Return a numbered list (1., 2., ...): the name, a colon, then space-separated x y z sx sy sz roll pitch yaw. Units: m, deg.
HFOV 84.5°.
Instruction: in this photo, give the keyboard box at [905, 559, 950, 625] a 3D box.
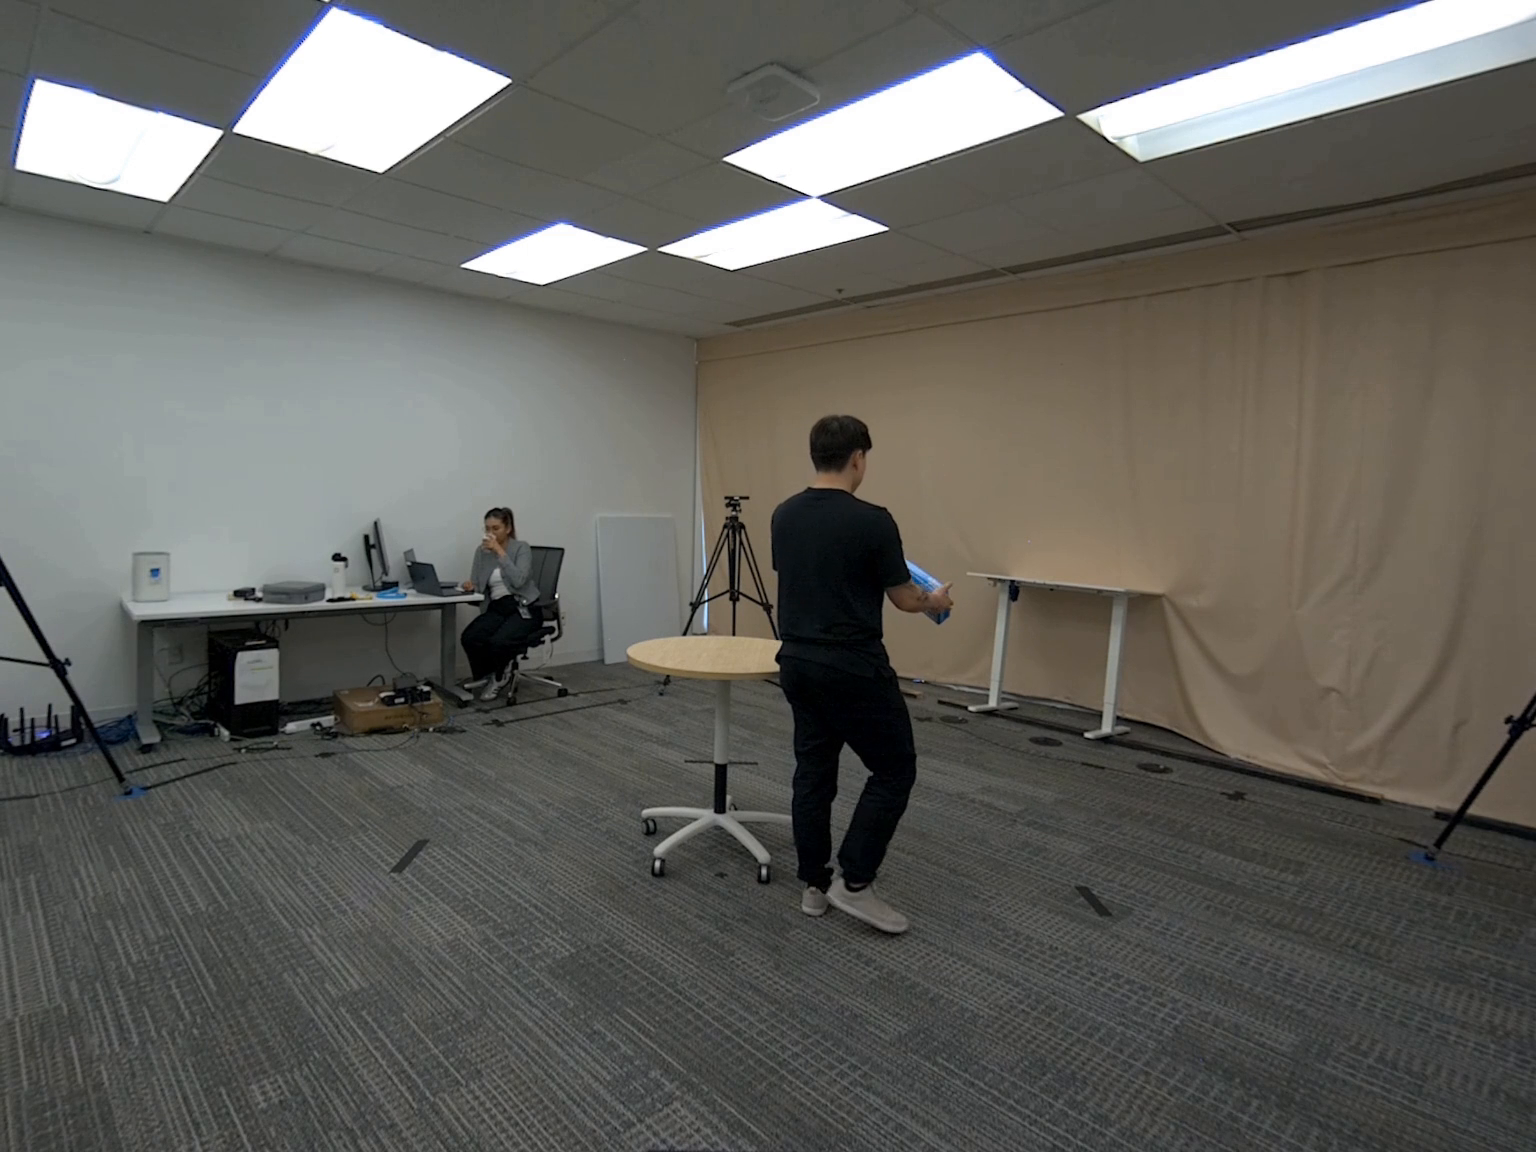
1. keyboard box: 0.507 0.003 3.188 0.059 0.171 0.451 -35 51 -15
